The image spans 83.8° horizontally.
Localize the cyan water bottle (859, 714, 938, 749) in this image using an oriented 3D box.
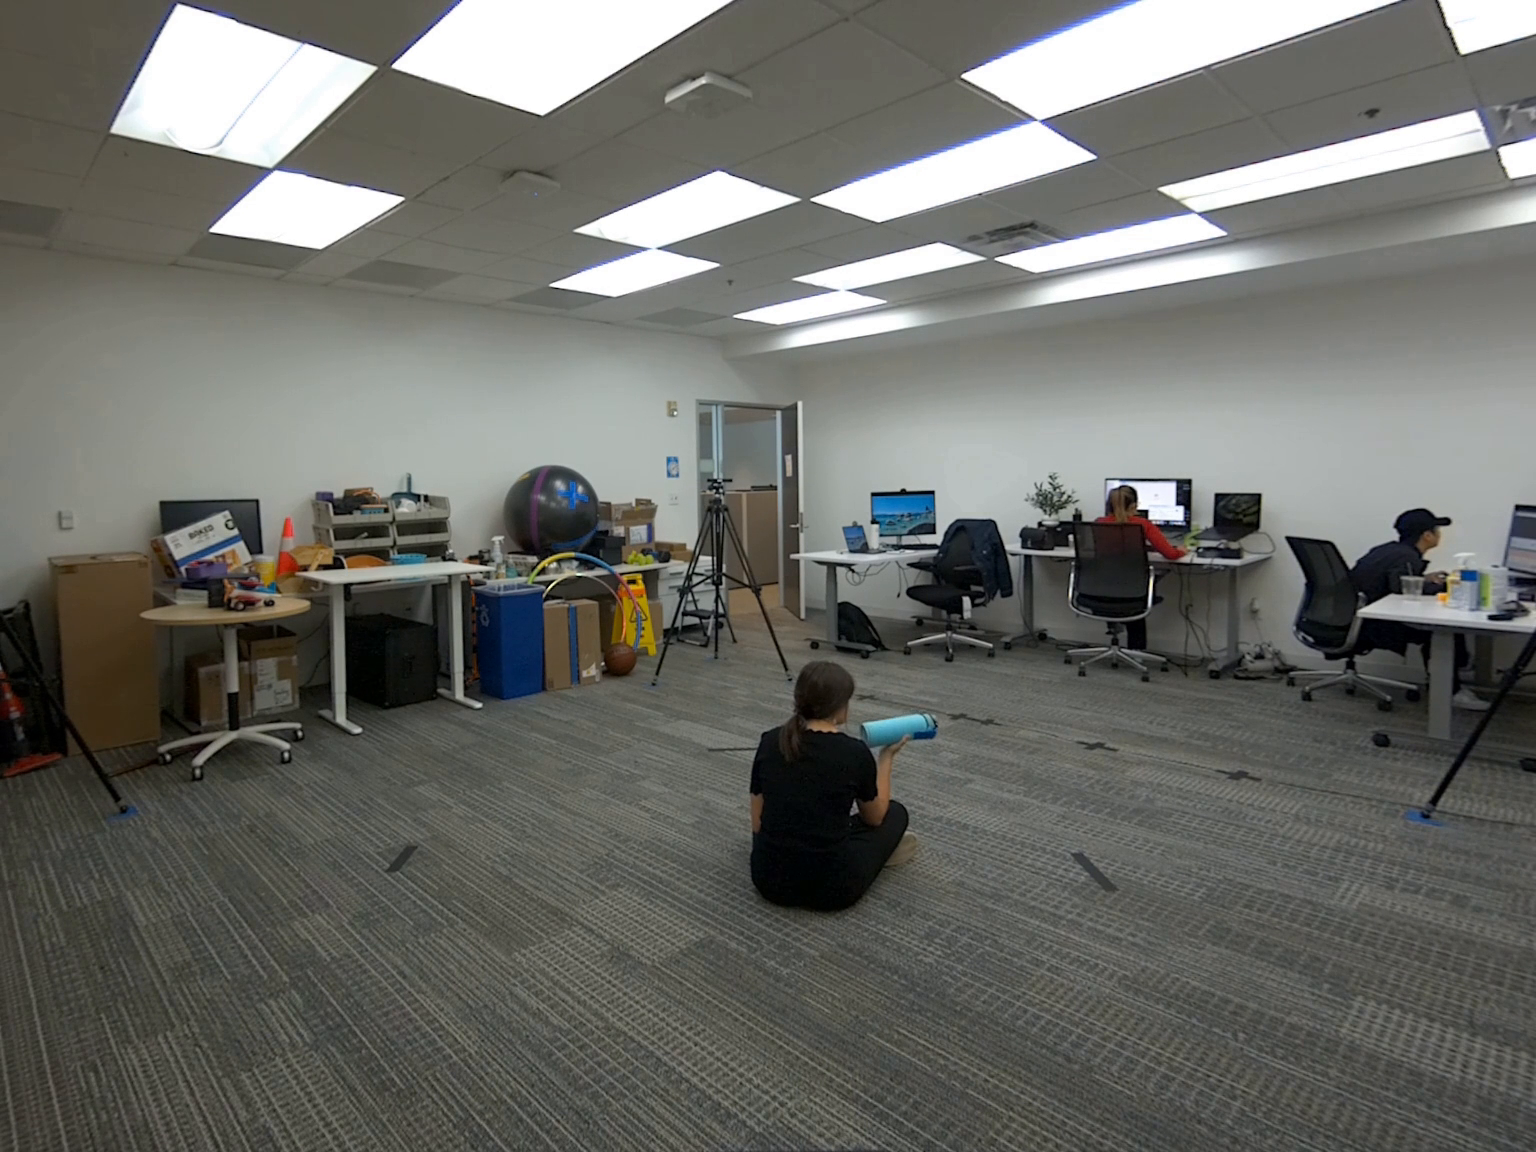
[{"bbox_3d":[0.487,0.556,3.094,0.281,0.092,0.094,-7,6,-11],"label":"cyan water bottle"}]
